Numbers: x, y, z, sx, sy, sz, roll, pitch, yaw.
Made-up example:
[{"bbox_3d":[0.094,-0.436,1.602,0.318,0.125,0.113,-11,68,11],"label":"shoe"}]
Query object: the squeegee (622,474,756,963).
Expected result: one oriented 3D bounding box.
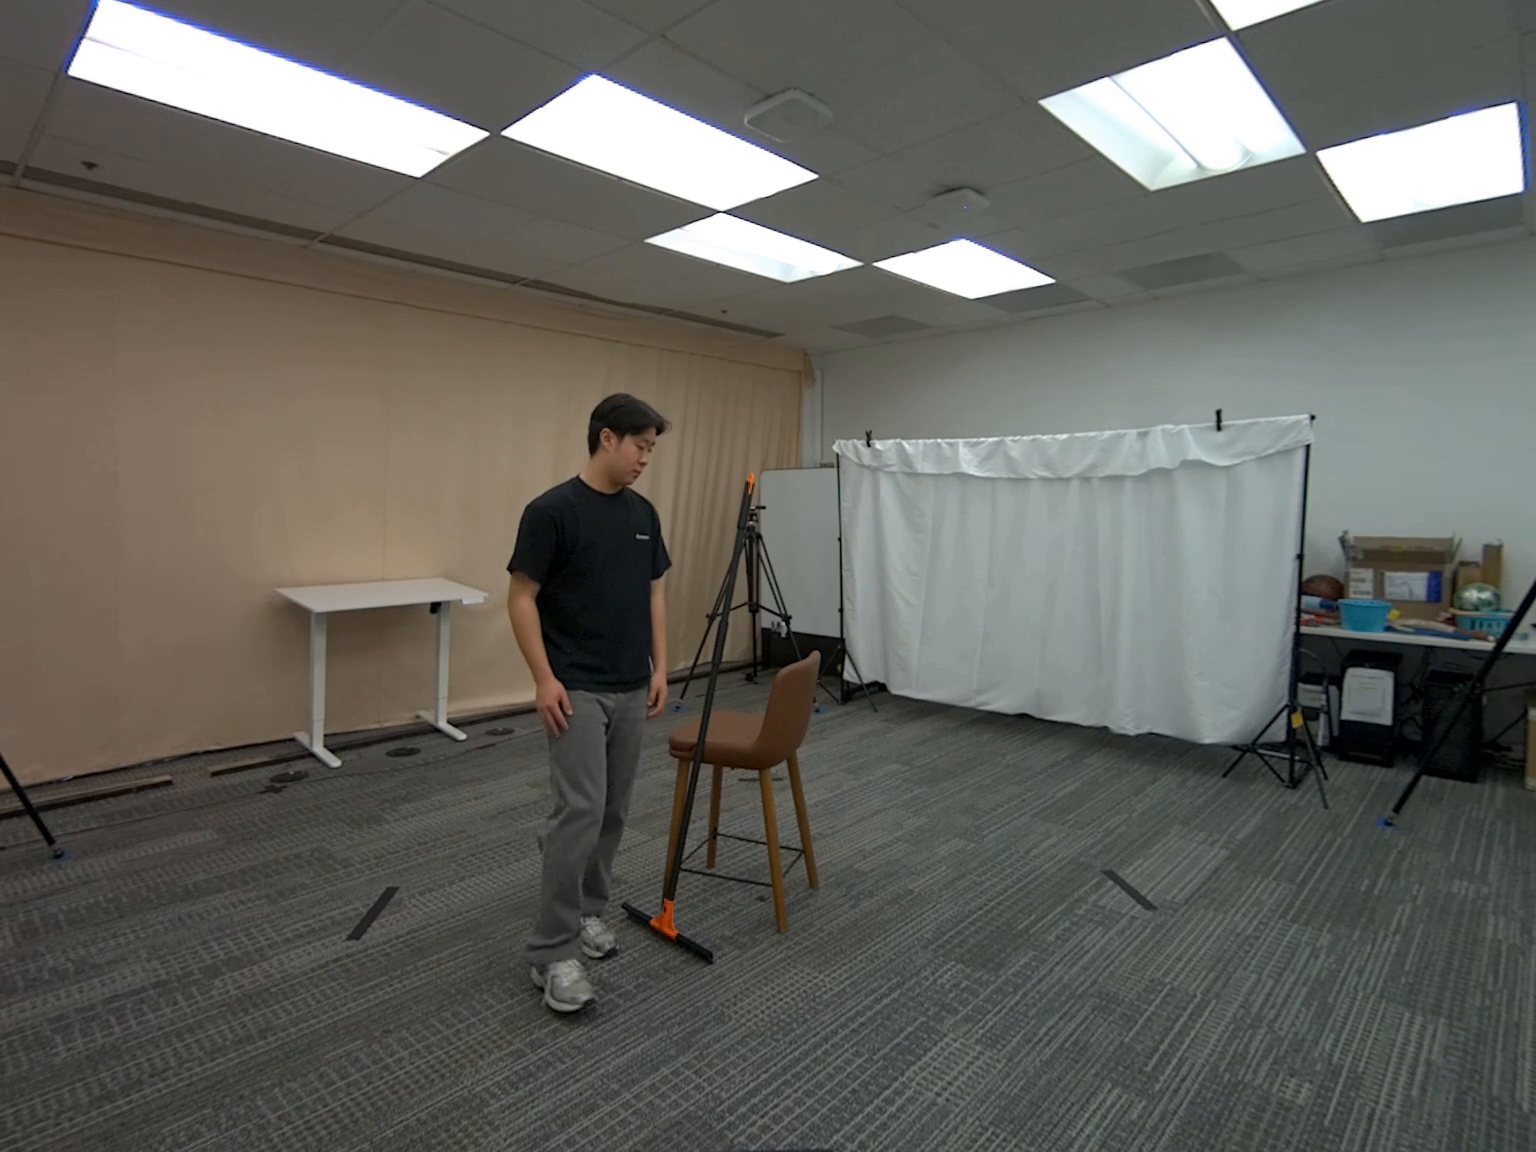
[{"bbox_3d":[-0.194,0.409,2.778,0.452,1.541,0.051,5,-8,42],"label":"squeegee"}]
